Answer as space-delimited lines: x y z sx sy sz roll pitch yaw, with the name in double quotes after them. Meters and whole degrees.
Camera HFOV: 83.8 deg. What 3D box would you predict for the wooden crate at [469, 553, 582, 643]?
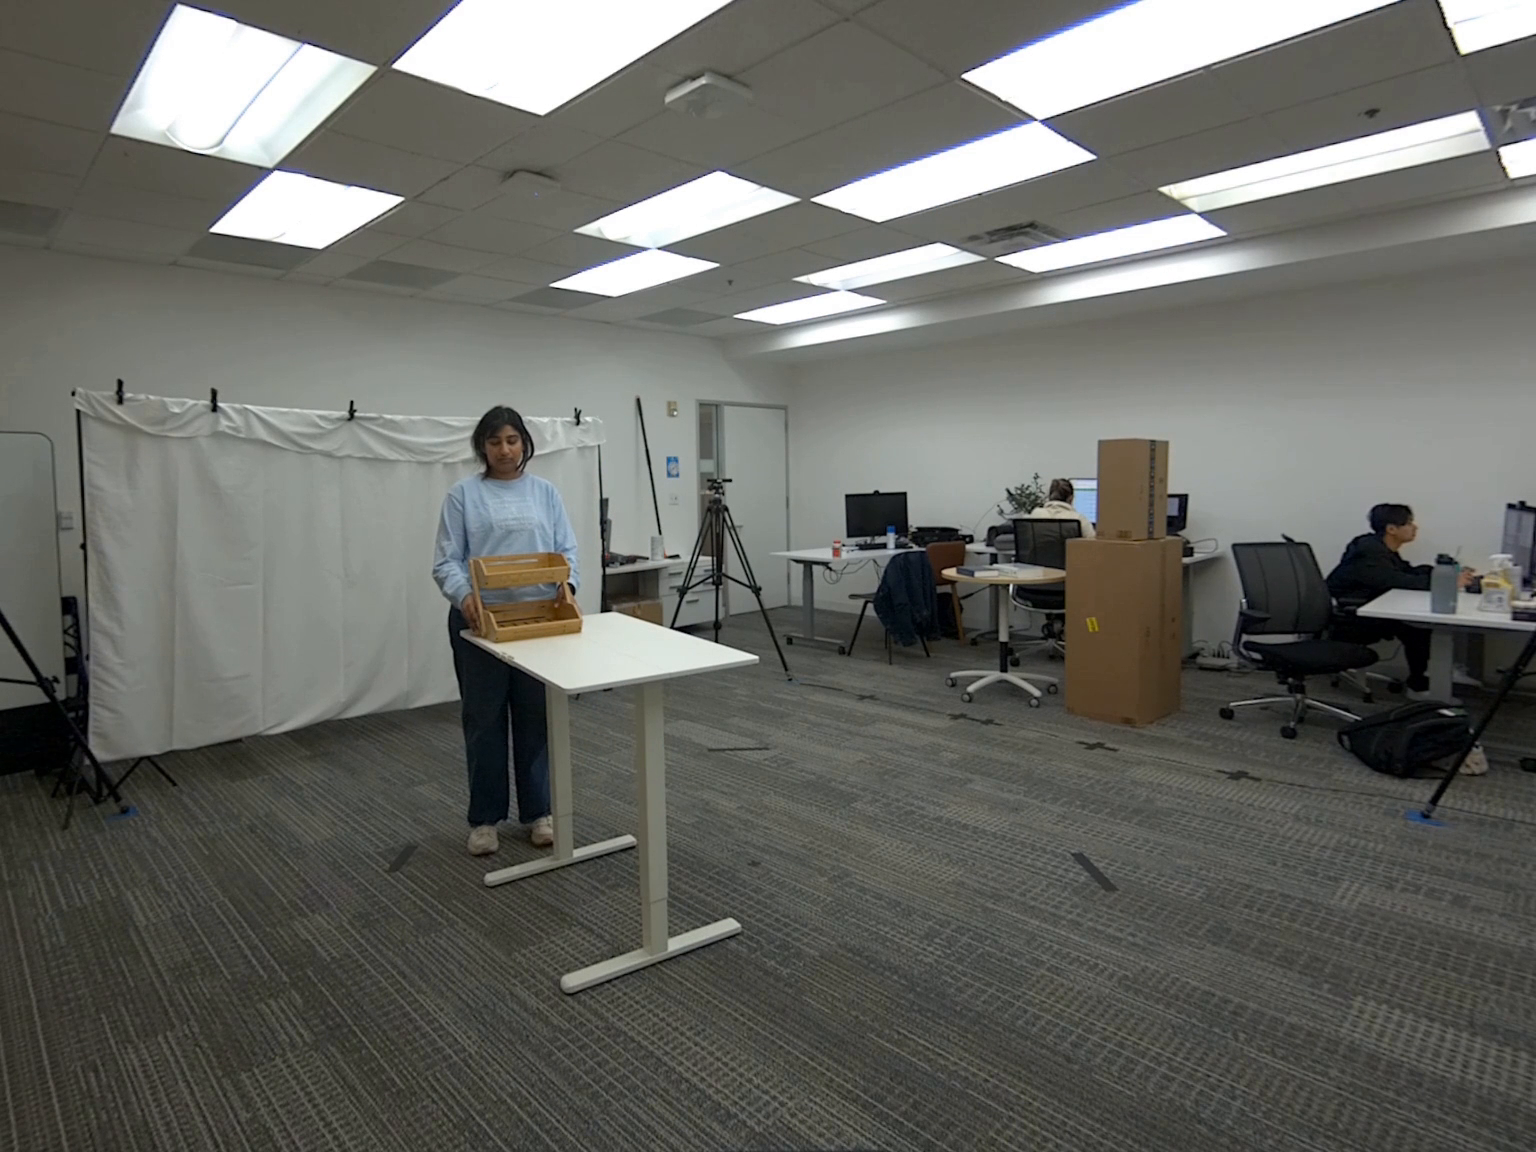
-0.842 0.064 2.956 0.317 0.272 0.310 -5 6 -32 "wooden crate"
